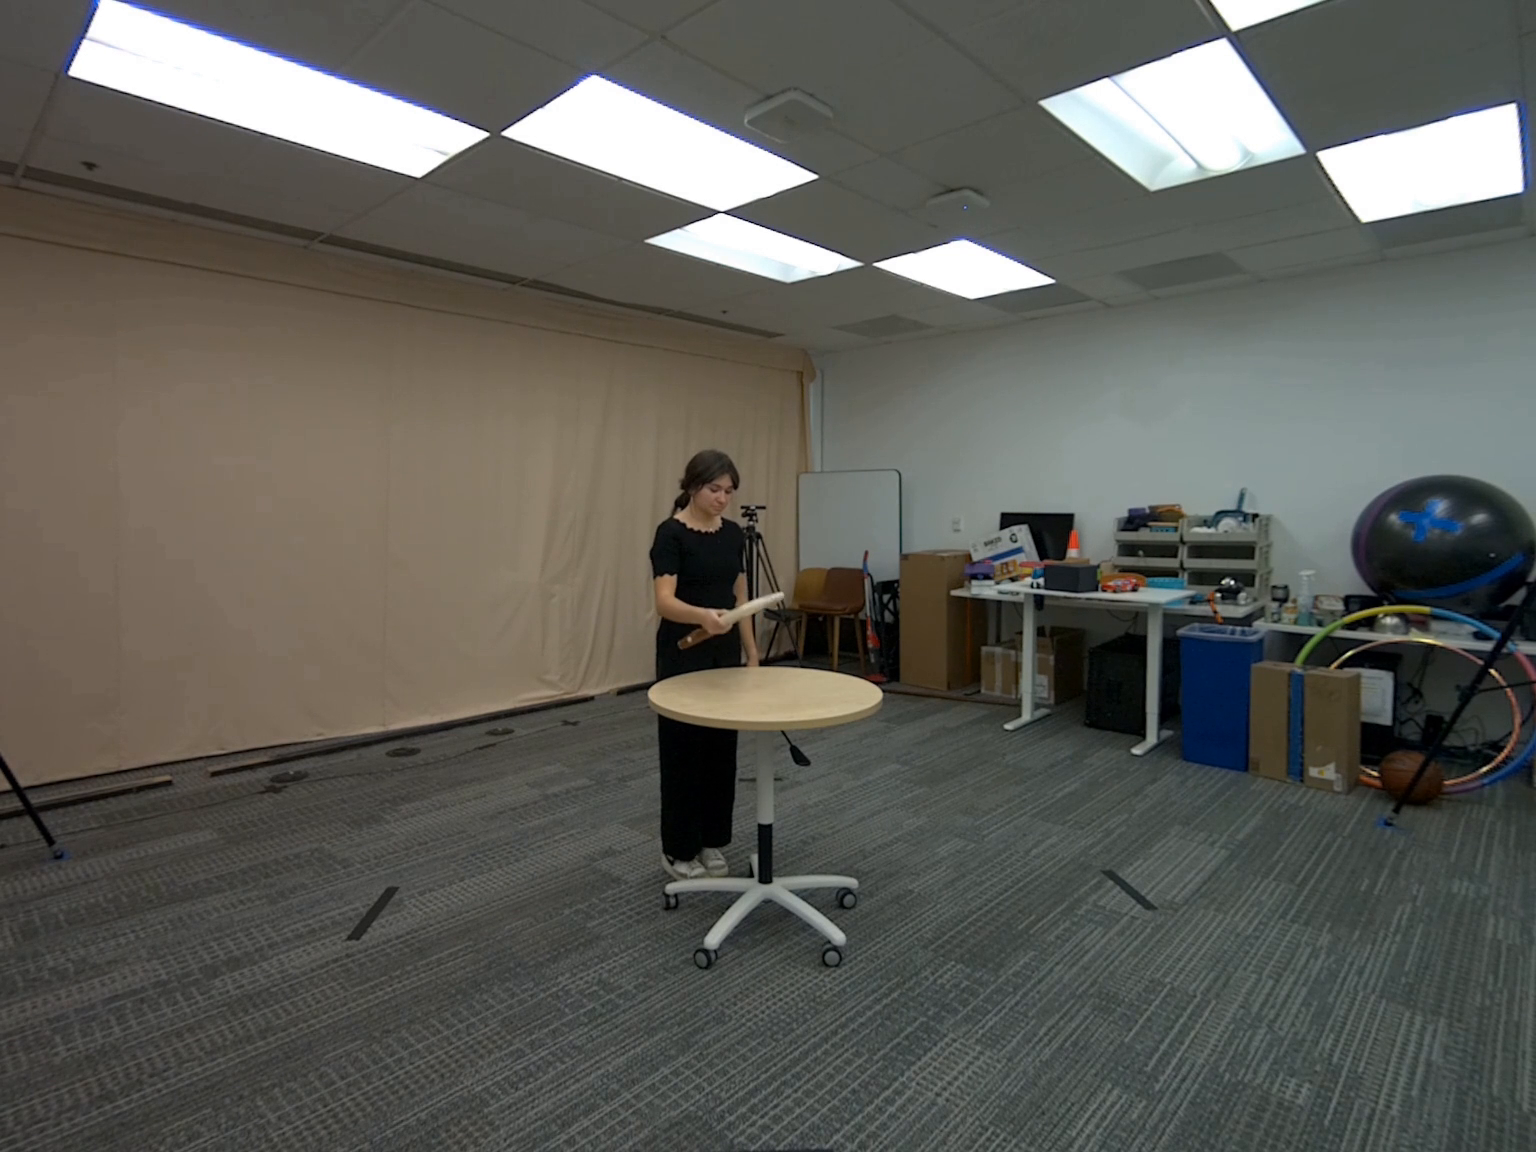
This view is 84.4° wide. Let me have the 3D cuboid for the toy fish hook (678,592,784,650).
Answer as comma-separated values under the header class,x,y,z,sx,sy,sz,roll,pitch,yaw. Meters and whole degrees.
class,x,y,z,sx,sy,sz,roll,pitch,yaw
toy fish hook,-0.133,0.153,2.828,0.219,0.049,0.515,-14,-10,-39
